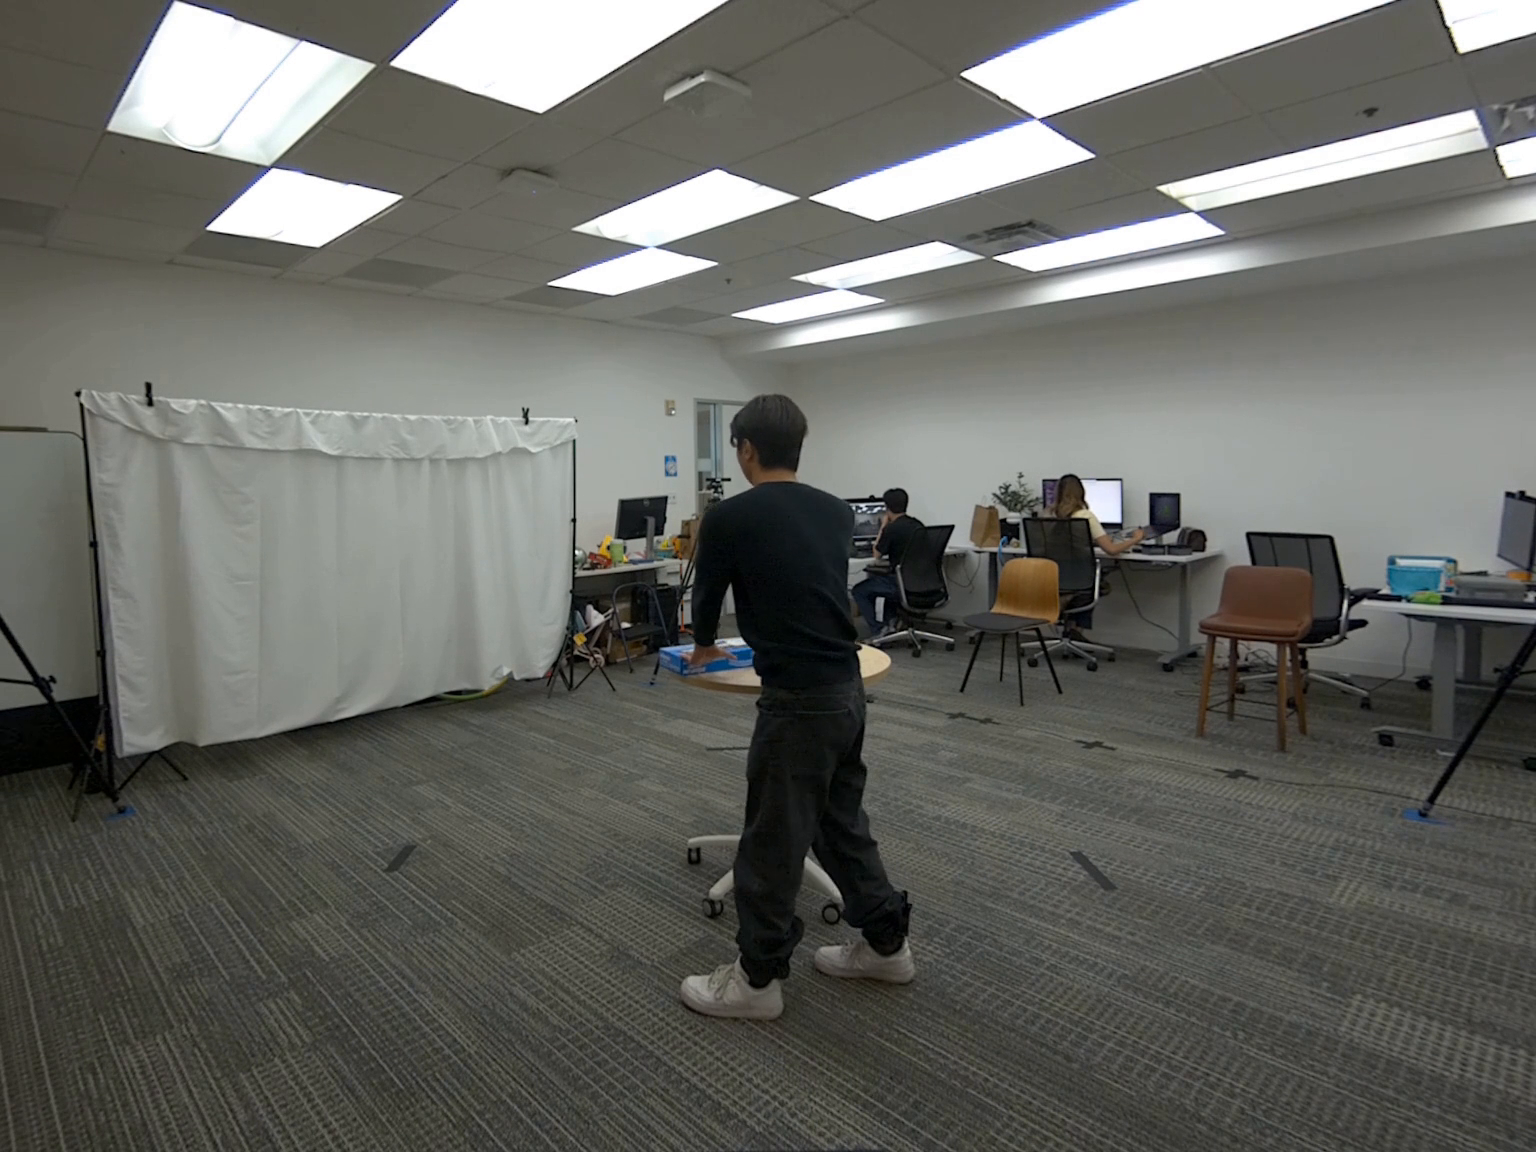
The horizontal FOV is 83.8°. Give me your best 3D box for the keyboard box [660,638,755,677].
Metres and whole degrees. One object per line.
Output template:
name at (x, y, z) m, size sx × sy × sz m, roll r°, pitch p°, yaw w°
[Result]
keyboard box at (-0.124, 0.260, 2.848) m, size 0.427 × 0.059 × 0.181 m, roll -4°, pitch 8°, yaw -30°
